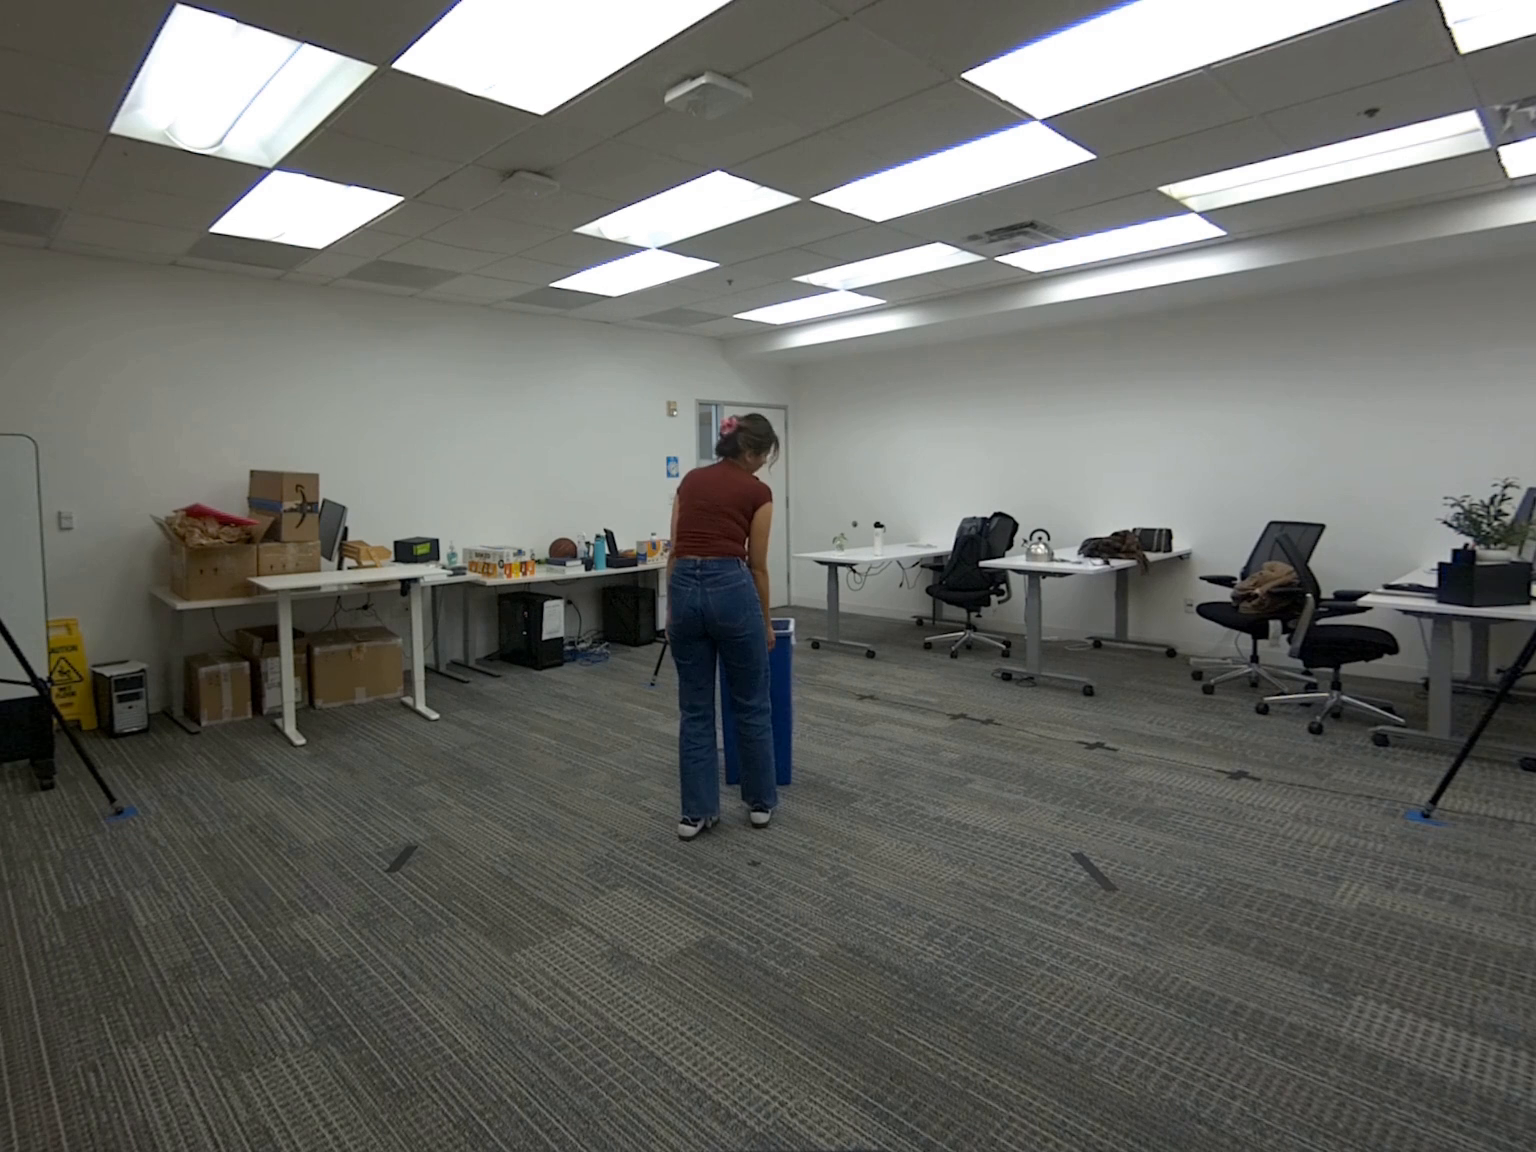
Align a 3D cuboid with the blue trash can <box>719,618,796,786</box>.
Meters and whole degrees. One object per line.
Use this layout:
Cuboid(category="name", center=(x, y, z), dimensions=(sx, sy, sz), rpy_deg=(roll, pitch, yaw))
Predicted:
Cuboid(category="blue trash can", center=(-0.055, 0.585, 4.033), dimensions=(0.376, 0.711, 0.378), rpy_deg=(-1, 4, 4))
